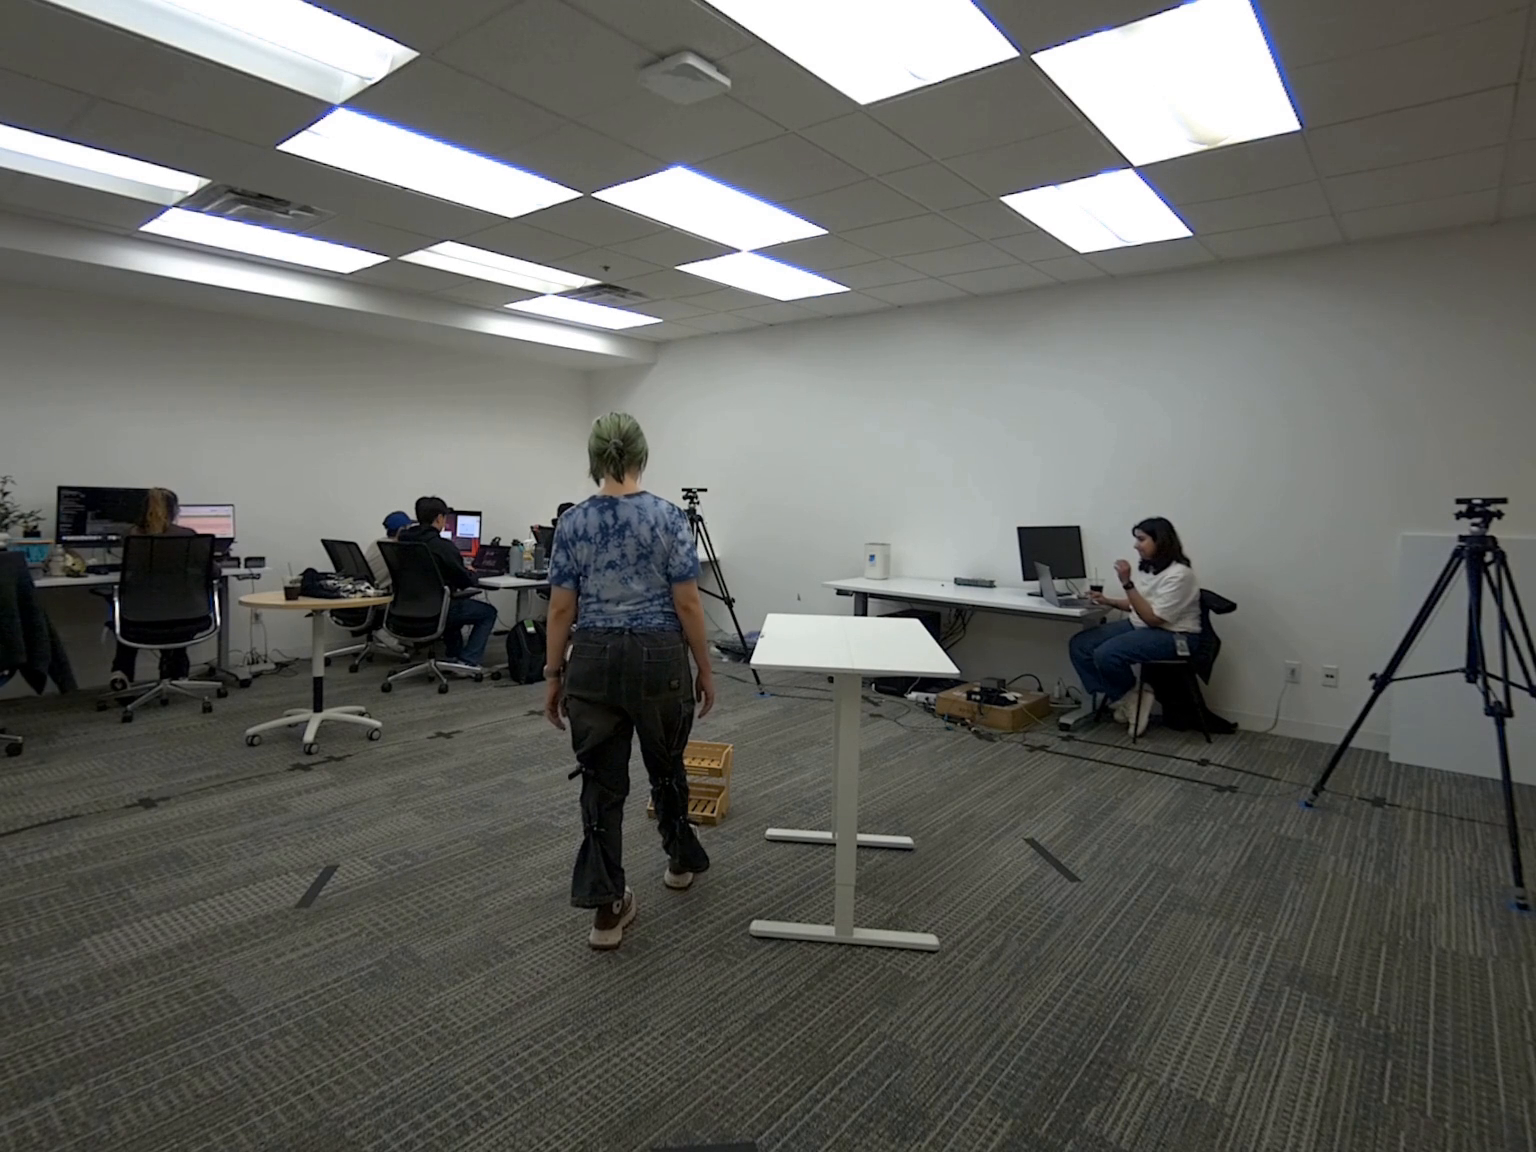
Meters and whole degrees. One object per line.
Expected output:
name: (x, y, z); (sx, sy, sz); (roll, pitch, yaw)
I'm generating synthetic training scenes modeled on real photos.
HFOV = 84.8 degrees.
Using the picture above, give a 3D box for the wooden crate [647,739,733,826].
wooden crate: (-0.338, 0.879, 3.678); (0.329, 0.272, 0.299); (1, 4, 12)
